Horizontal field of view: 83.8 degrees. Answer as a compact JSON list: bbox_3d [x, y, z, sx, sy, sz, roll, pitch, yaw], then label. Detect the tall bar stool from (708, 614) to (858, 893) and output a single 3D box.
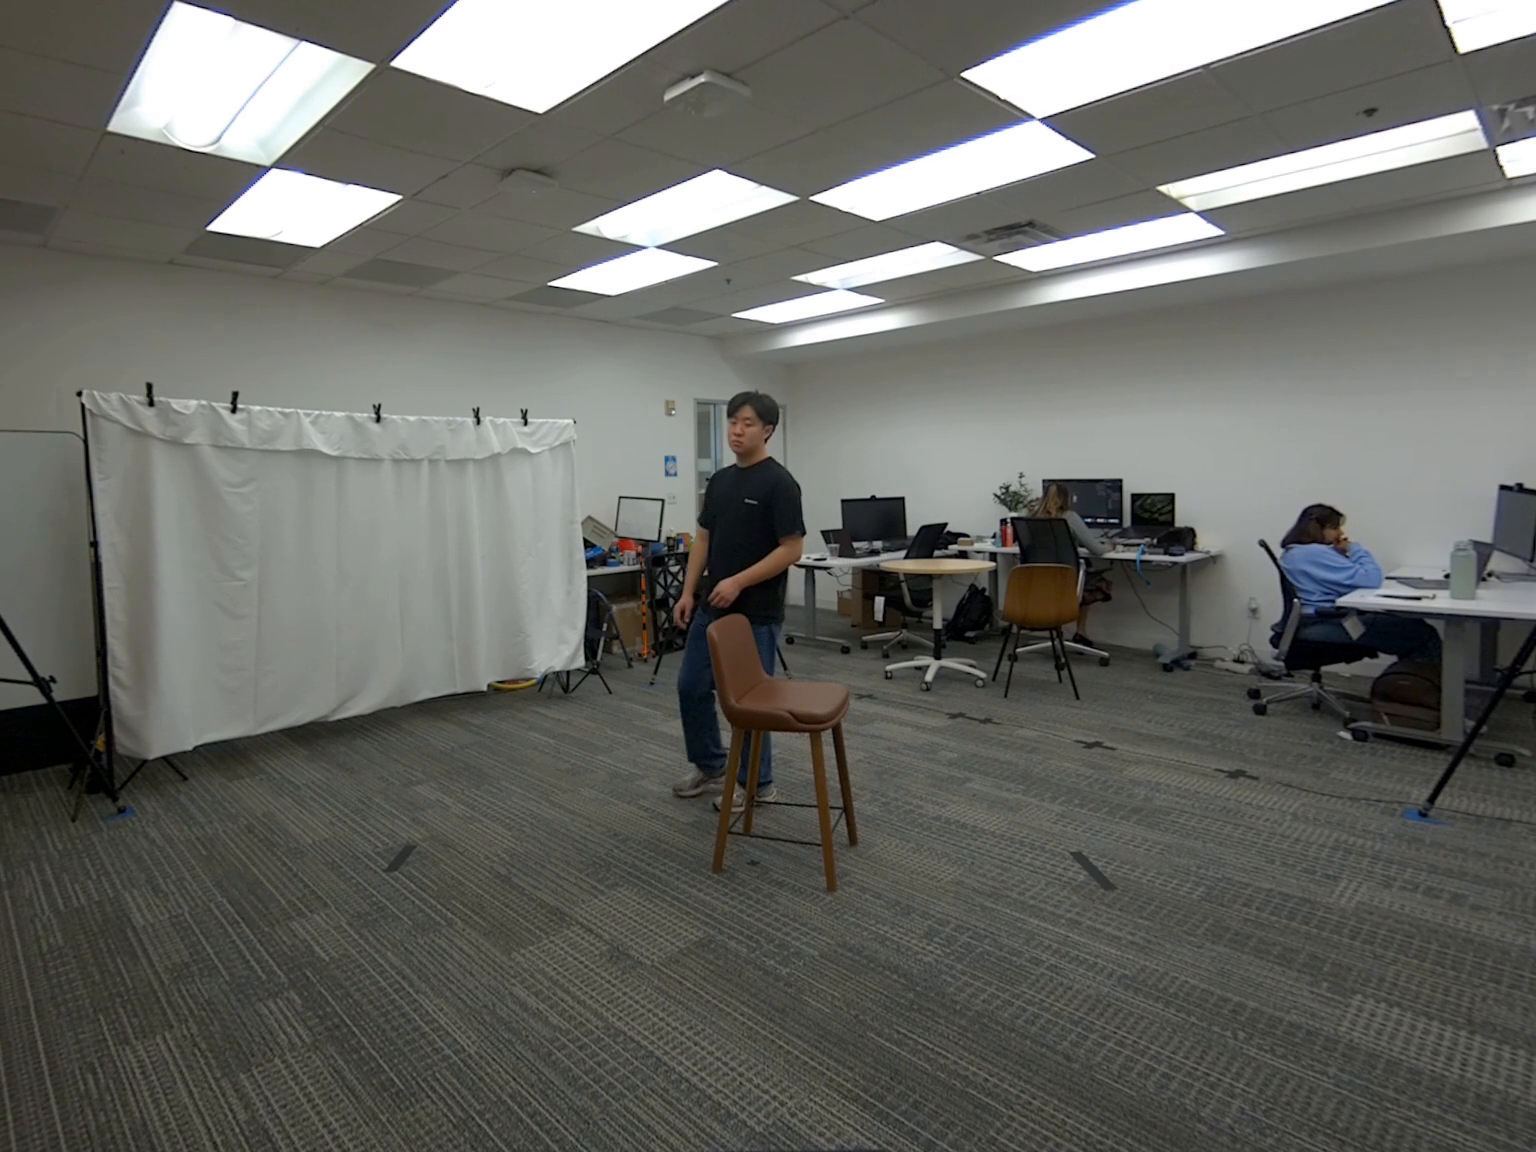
[{"bbox_3d":[0.057,0.605,3.118,0.476,0.887,0.449,-1,3,19],"label":"tall bar stool"}]
